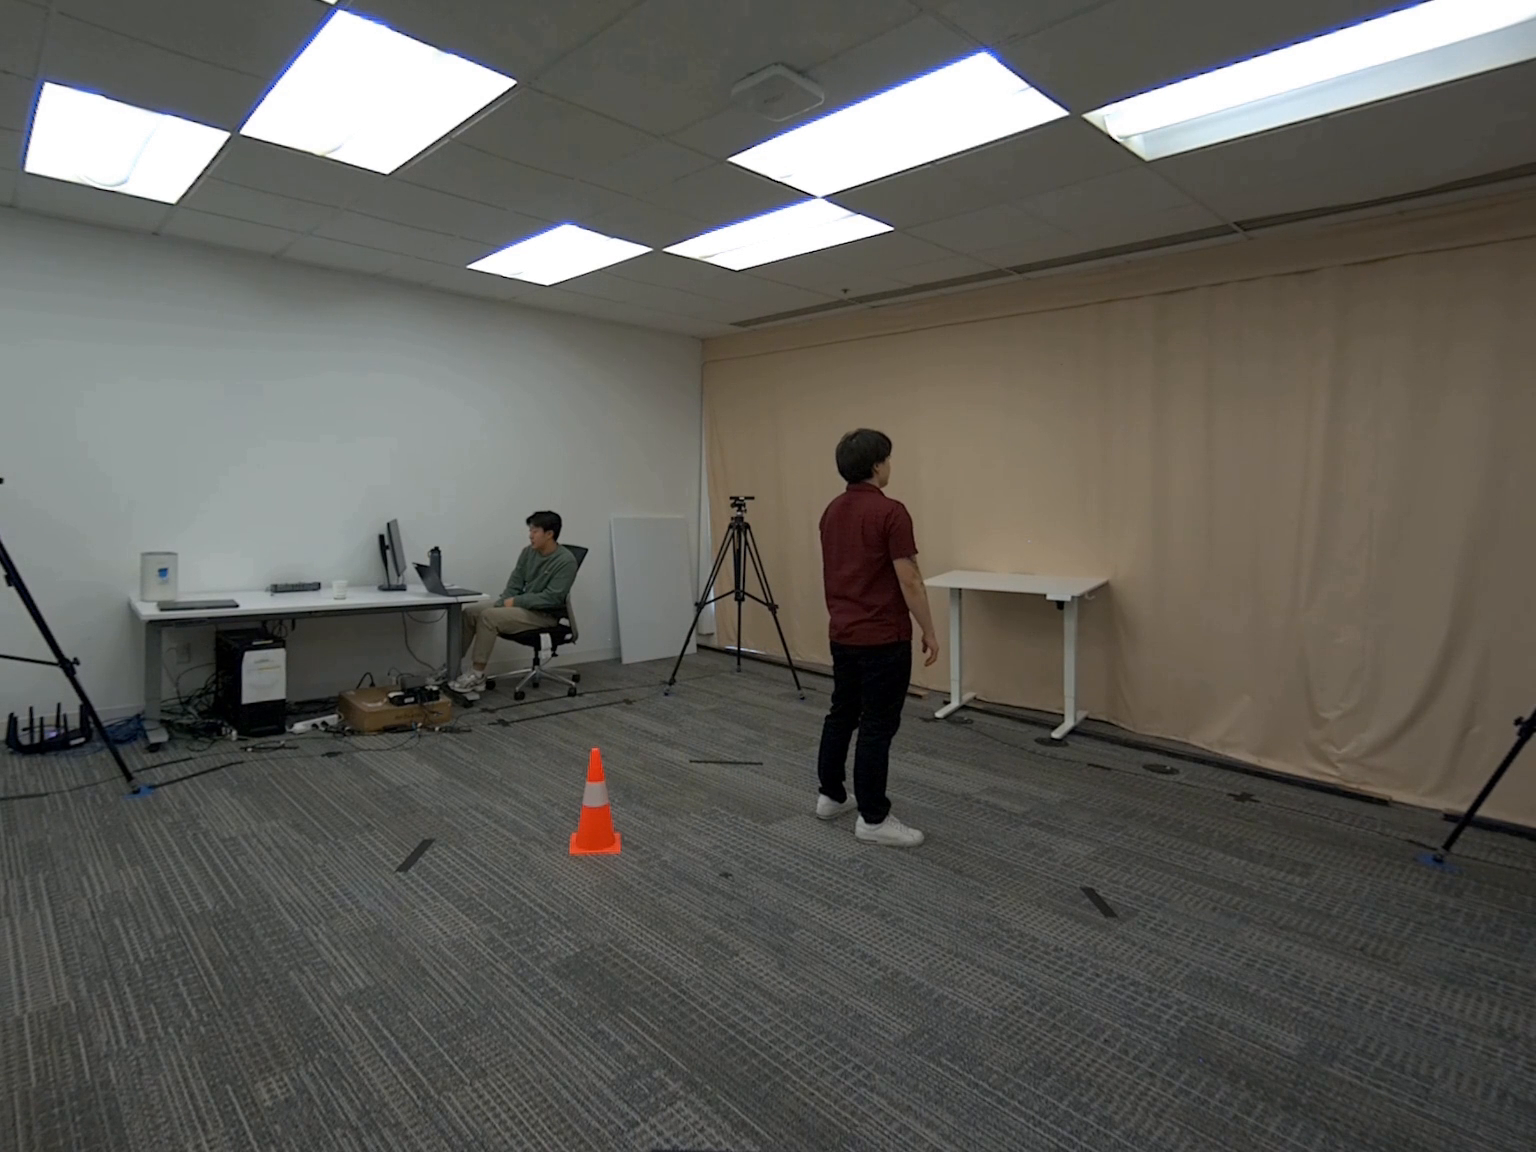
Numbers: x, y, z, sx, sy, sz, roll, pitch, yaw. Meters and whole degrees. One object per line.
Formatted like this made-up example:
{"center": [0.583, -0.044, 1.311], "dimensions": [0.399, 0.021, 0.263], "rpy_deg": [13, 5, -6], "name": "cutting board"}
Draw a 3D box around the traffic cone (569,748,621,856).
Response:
{"center": [-0.693, 0.883, 3.349], "dimensions": [0.203, 0.382, 0.205], "rpy_deg": [2, 4, -11], "name": "traffic cone"}
